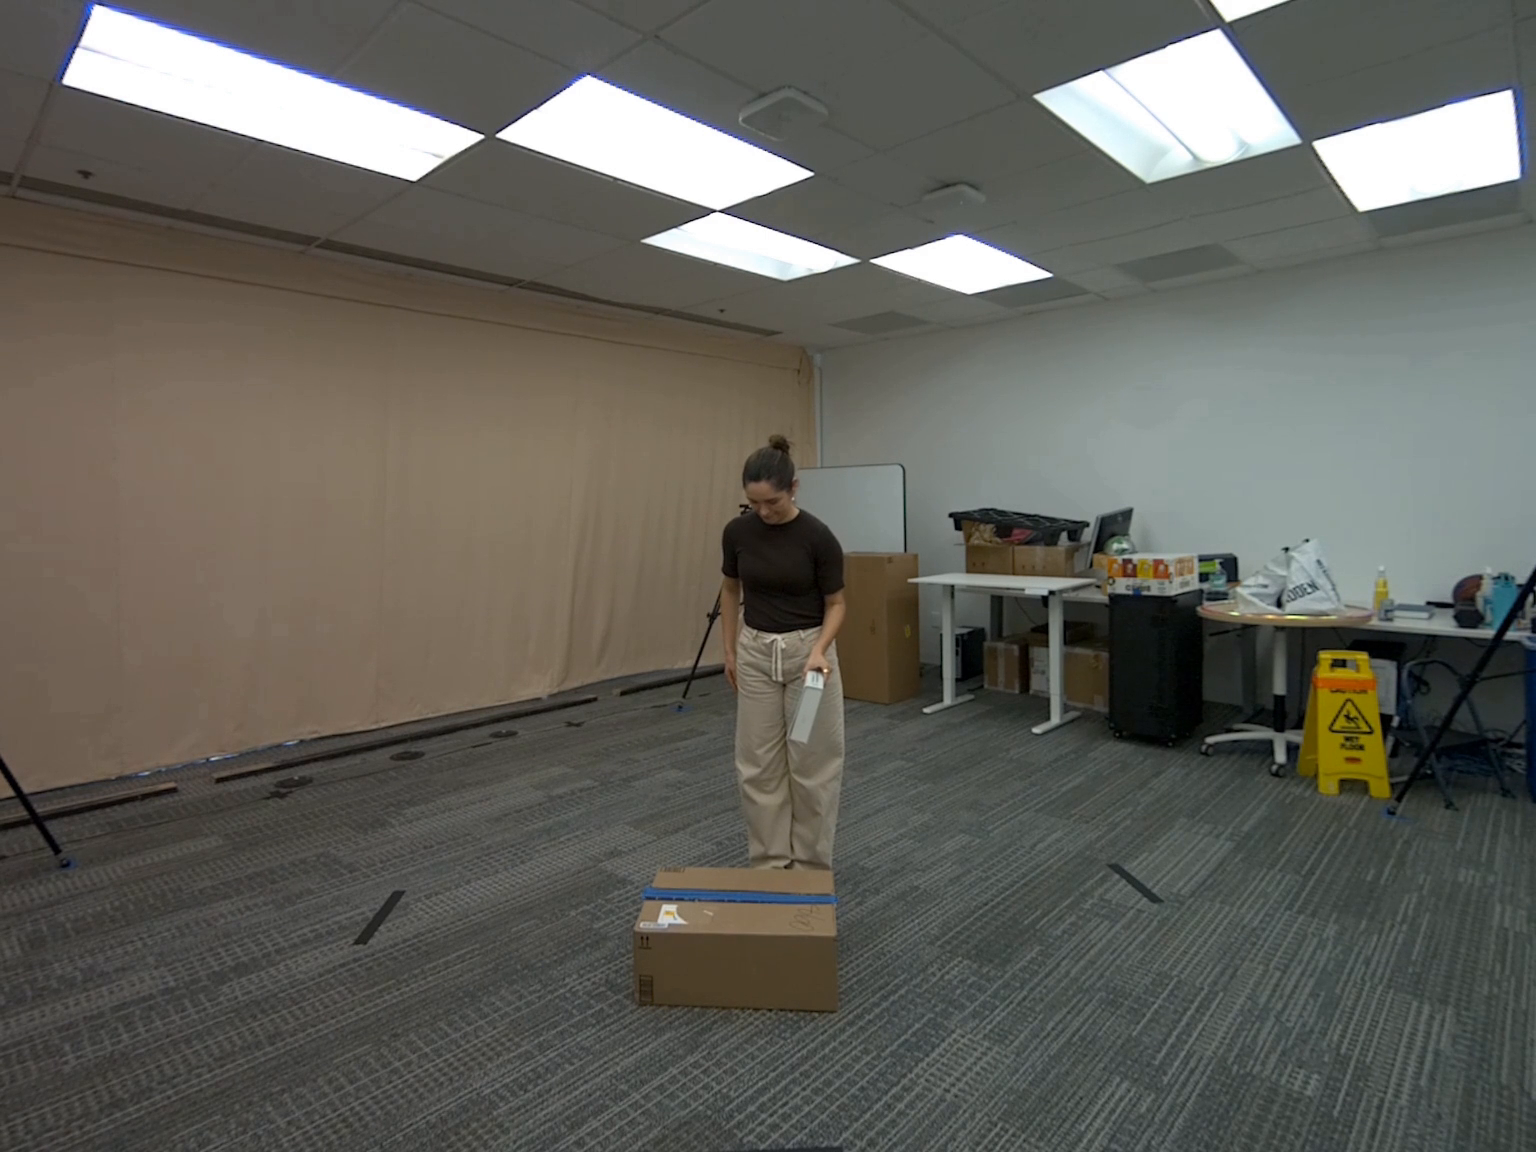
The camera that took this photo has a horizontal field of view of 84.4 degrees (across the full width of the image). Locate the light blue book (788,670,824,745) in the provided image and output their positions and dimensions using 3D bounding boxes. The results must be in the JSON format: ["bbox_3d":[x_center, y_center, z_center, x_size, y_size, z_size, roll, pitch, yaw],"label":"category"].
[{"bbox_3d":[0.124,0.400,2.691,0.059,0.191,0.260,12,9,2],"label":"light blue book"}]
